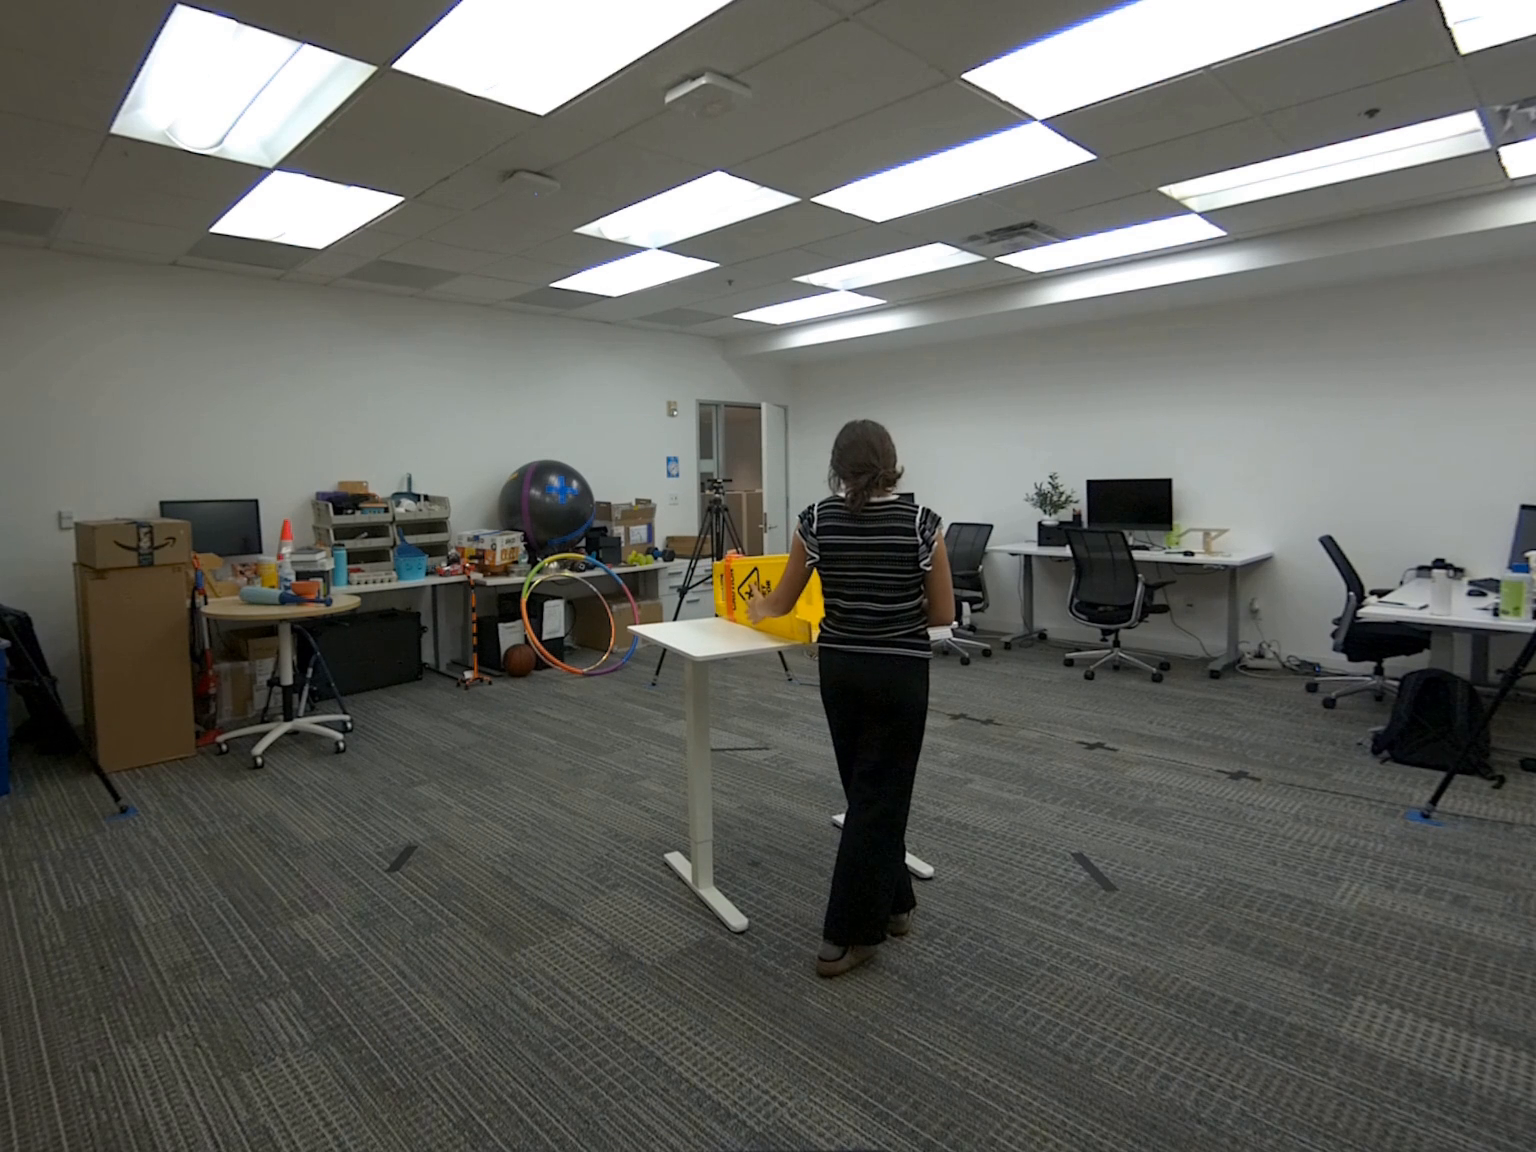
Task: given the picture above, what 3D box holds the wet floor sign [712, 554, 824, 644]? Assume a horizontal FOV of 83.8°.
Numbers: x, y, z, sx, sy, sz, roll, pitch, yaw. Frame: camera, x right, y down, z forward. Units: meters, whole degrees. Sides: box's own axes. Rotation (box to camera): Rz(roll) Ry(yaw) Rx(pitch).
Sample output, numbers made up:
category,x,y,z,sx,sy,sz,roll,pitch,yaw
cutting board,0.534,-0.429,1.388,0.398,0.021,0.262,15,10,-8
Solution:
category,x,y,z,sx,sy,sz,roll,pitch,yaw
wet floor sign,0.001,0.055,2.964,0.282,0.282,0.664,-5,4,-39
